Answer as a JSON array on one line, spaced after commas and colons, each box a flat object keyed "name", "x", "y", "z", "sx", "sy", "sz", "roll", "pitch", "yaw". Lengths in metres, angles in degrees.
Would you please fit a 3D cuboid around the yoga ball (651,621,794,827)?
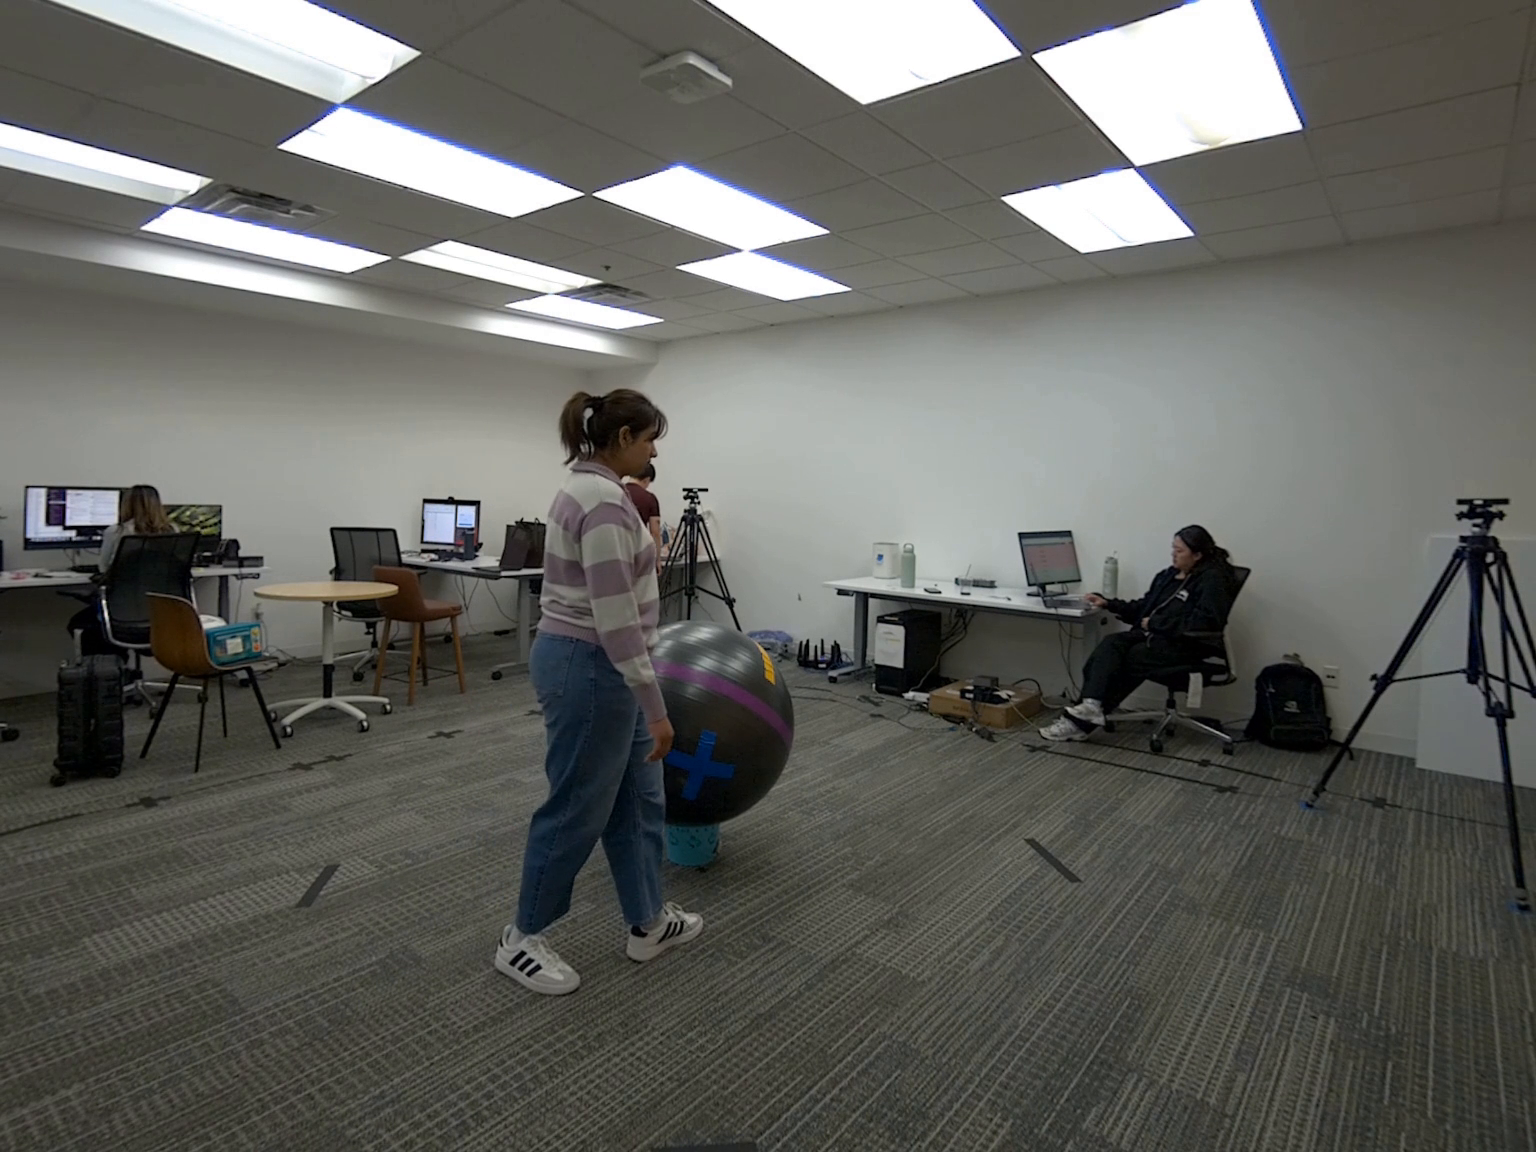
[{"name": "yoga ball", "x": -0.292, "y": 0.547, "z": 3.208, "sx": 0.757, "sy": 0.756, "sz": 0.762, "roll": 1, "pitch": 4, "yaw": -2}]
